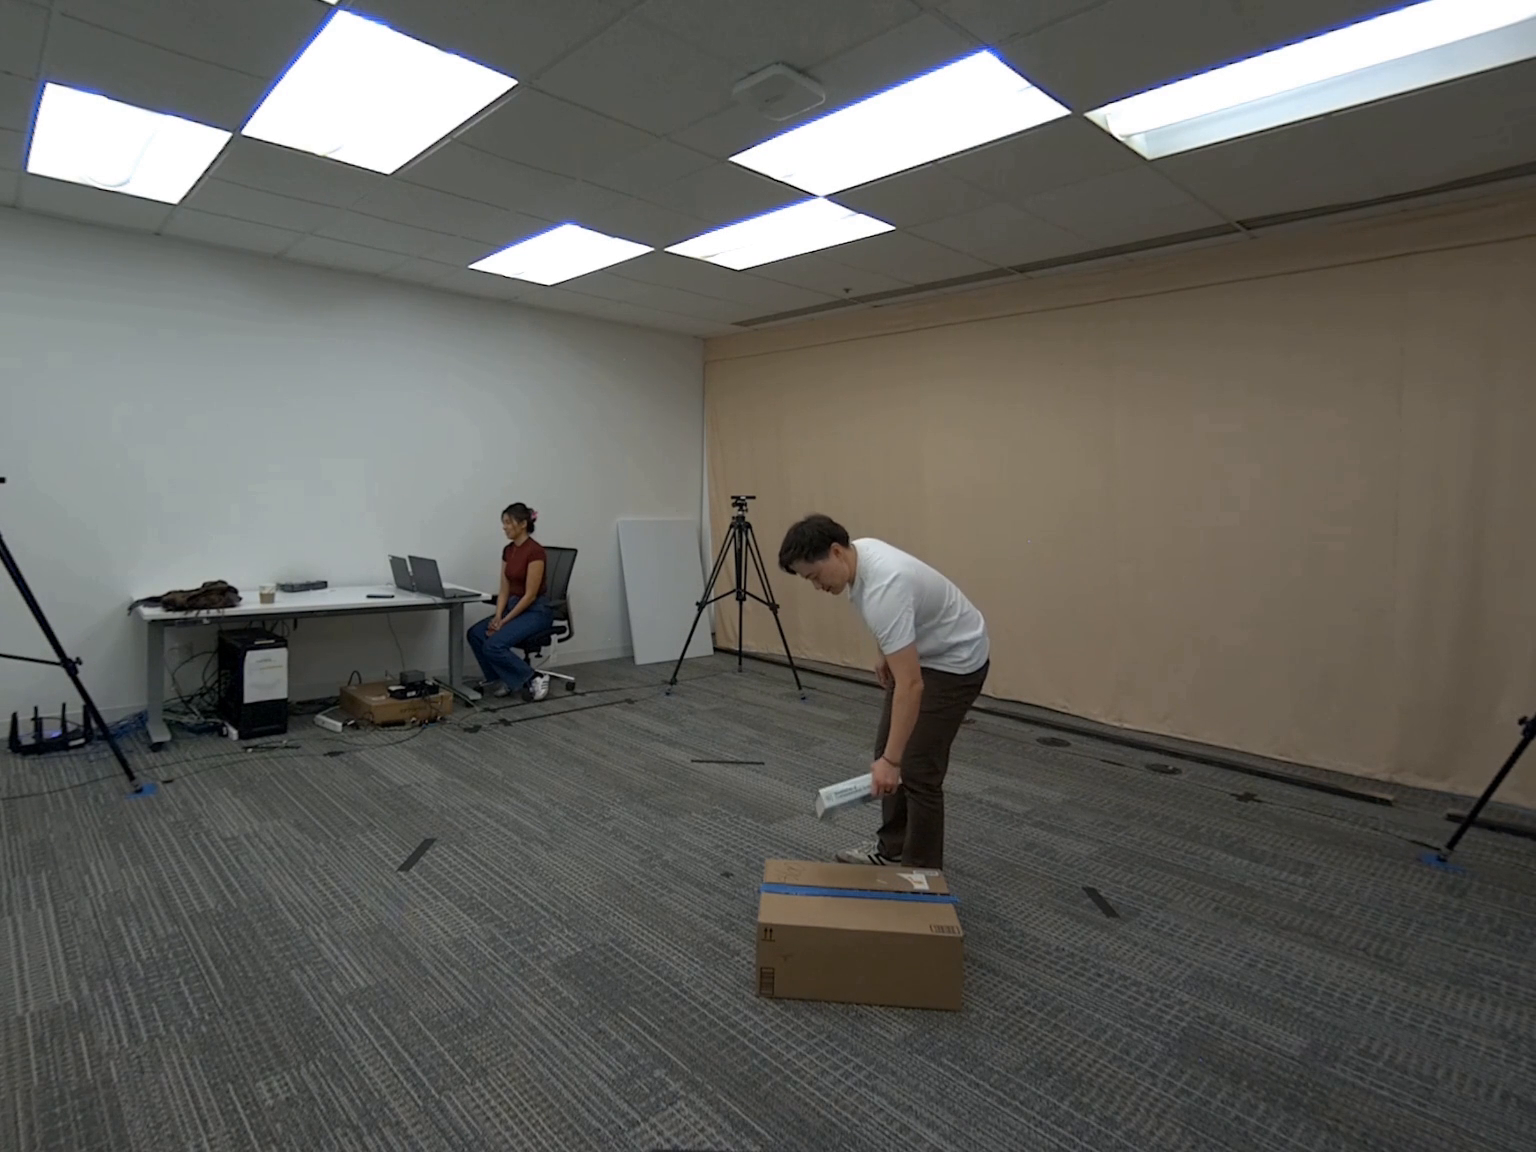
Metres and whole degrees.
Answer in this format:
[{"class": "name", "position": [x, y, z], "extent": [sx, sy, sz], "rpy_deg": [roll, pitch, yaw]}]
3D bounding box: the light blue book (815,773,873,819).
[{"class": "light blue book", "position": [0.276, 0.694, 2.723], "extent": [0.260, 0.060, 0.188], "rpy_deg": [-15, -23, -9]}]
